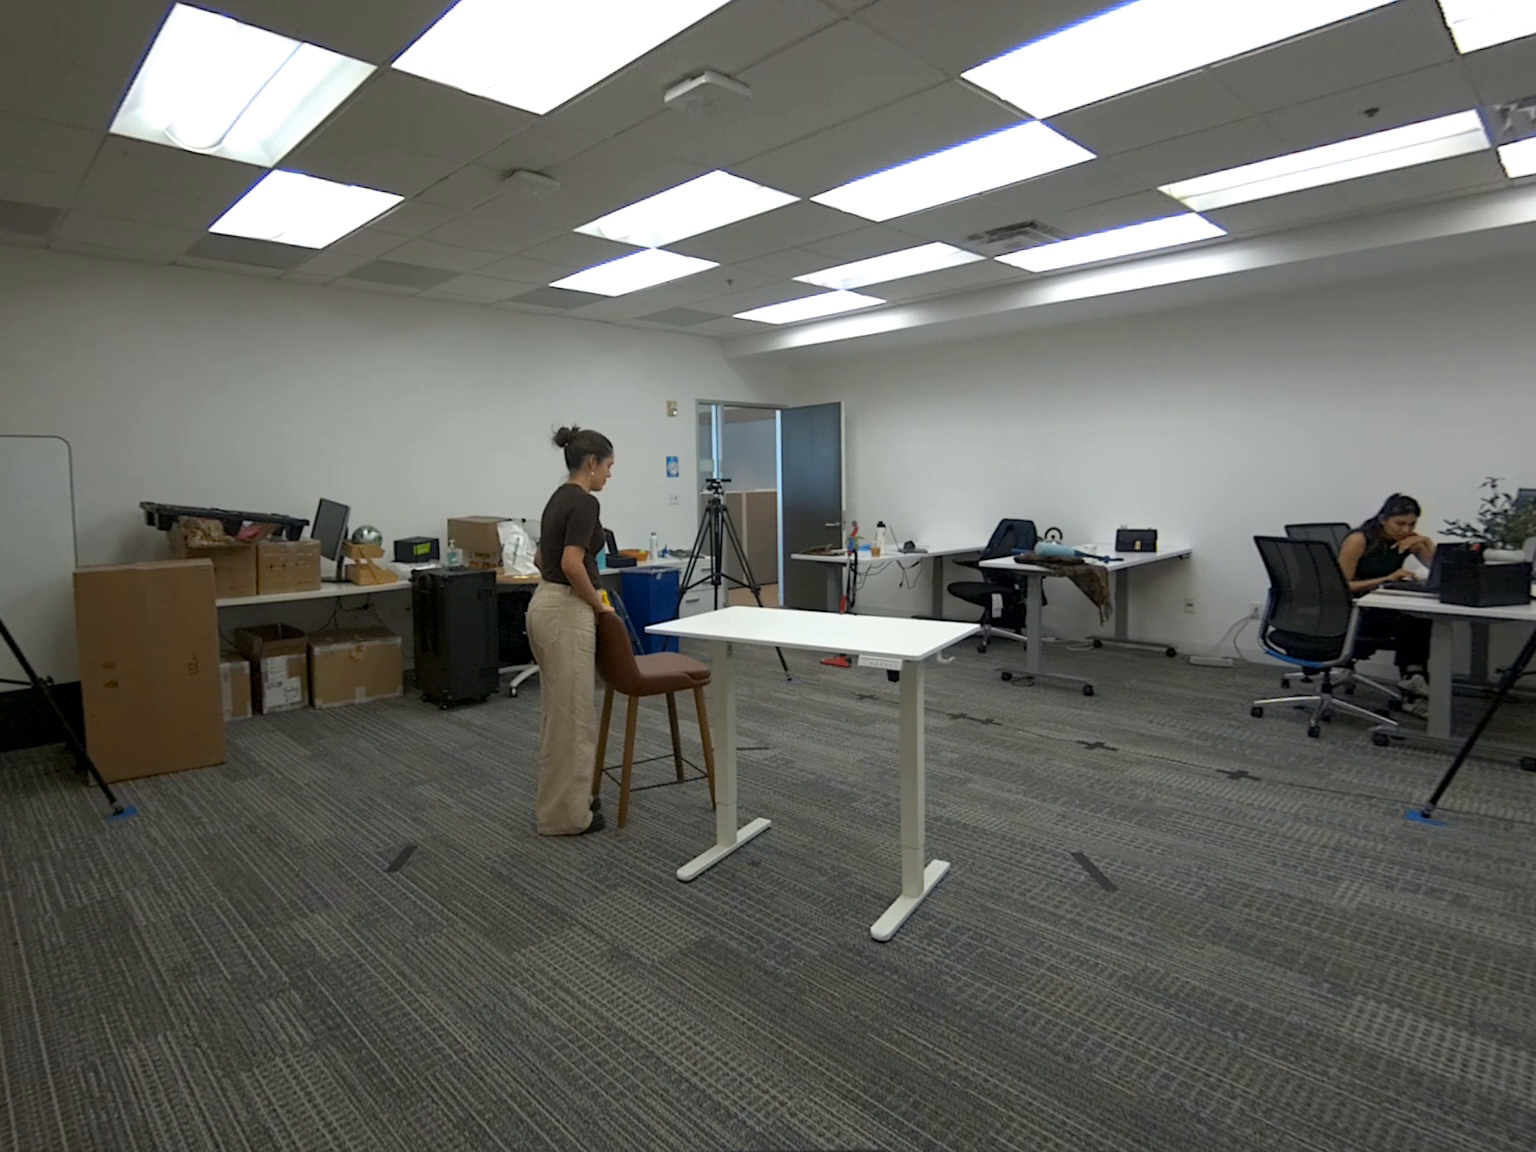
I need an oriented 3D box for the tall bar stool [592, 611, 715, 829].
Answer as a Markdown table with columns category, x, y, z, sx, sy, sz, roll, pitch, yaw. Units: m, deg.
| category | x | y | z | sx | sy | sz | roll | pitch | yaw |
| --- | --- | --- | --- | --- | --- | --- | --- | --- | --- |
| tall bar stool | -0.511 | 0.550 | 3.670 | 0.457 | 0.886 | 0.468 | -5 | 5 | -28 |
